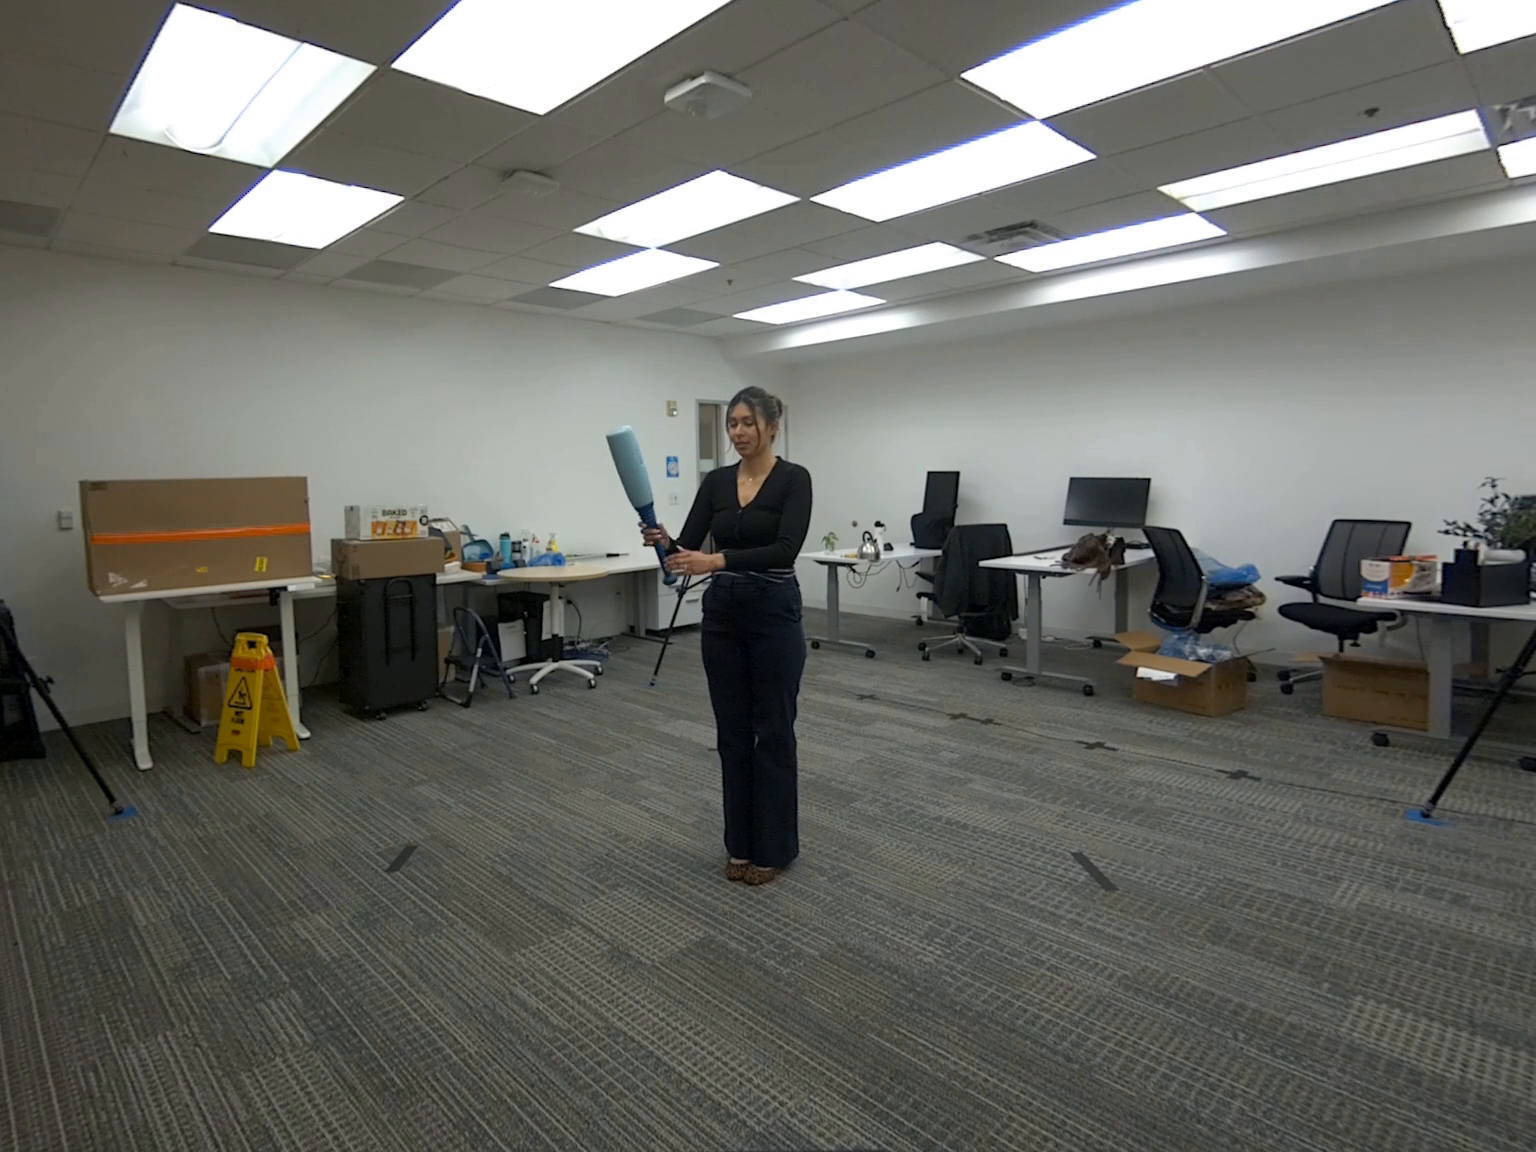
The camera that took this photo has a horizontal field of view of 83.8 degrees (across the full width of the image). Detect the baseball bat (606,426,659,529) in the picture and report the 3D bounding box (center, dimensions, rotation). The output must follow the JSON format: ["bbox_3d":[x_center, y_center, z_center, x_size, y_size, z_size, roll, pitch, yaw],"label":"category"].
[{"bbox_3d":[-0.388,-0.205,2.702,0.089,0.531,0.091,-15,21,5],"label":"baseball bat"}]
